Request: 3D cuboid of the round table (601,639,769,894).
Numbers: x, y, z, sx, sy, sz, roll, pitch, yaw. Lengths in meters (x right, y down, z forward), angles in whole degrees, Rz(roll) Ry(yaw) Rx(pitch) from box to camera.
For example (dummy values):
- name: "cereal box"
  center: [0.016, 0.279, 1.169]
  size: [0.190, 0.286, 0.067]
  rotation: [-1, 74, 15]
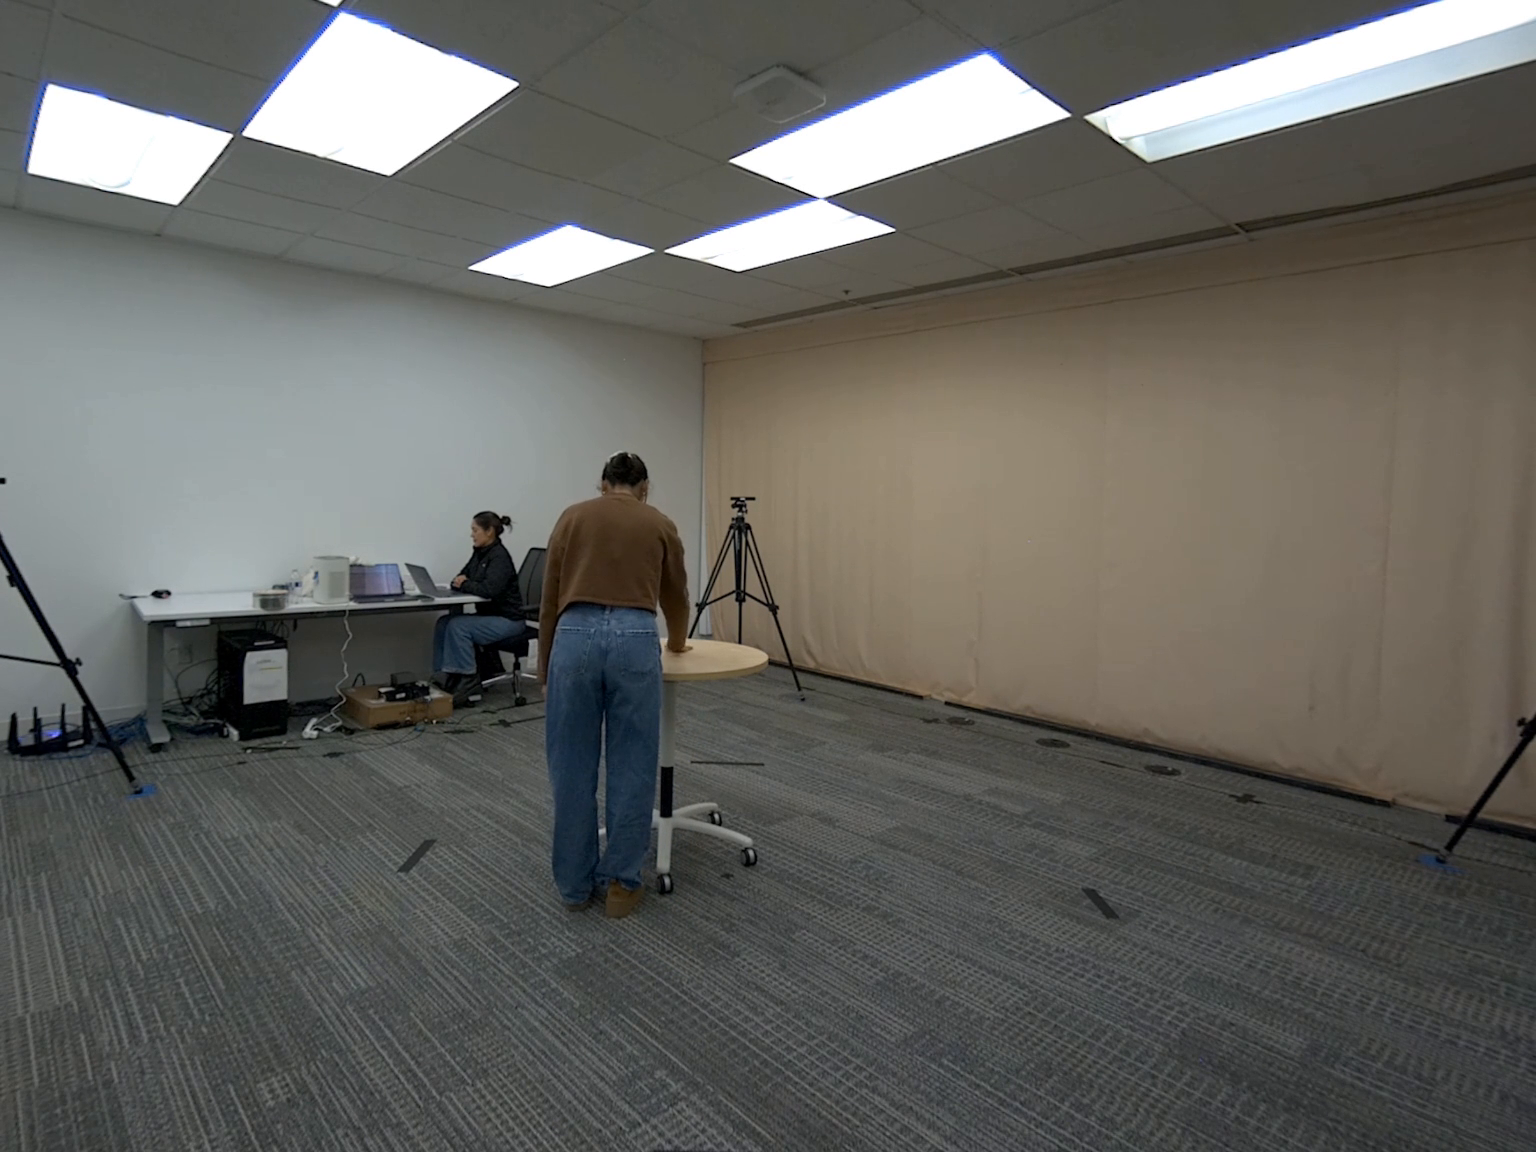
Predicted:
- name: "round table"
  center: [-0.399, 0.697, 3.294]
  size: [0.763, 0.792, 0.766]
  rotation: [1, 4, -1]
